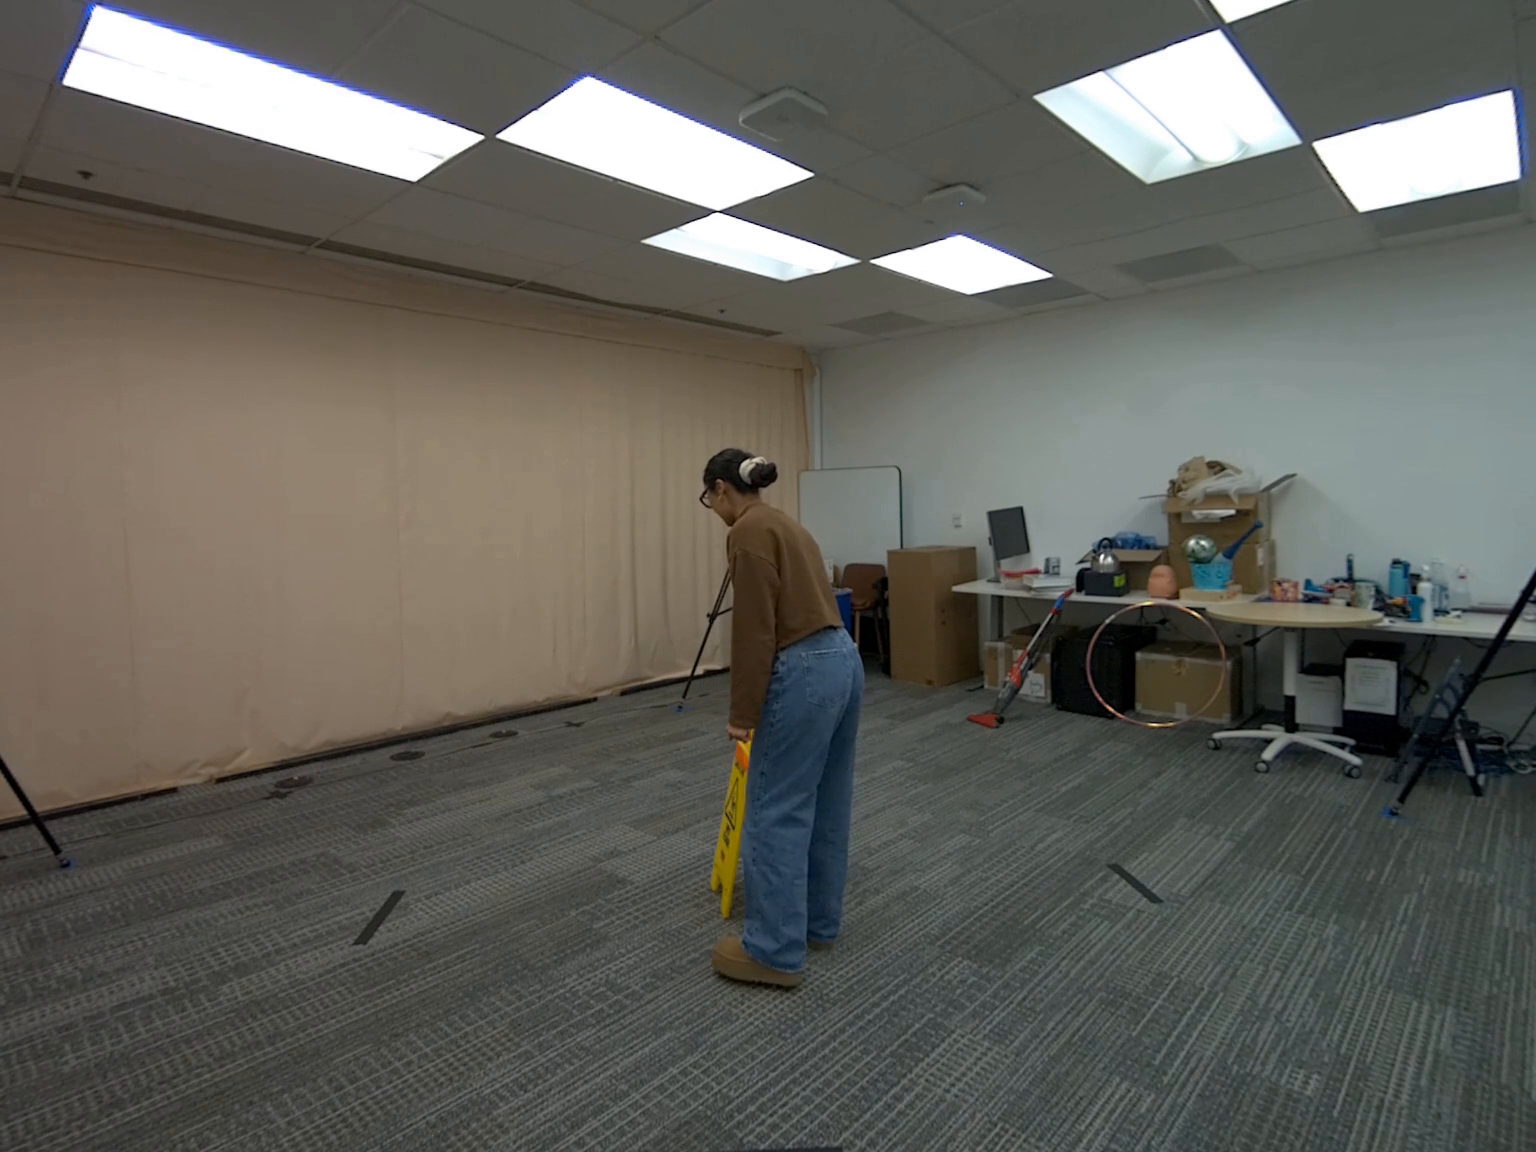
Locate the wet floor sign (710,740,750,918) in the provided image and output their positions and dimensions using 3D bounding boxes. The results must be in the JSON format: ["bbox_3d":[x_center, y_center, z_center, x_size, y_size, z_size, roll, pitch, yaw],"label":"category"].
[{"bbox_3d":[-0.049,0.816,2.975,0.286,0.645,0.286,-2,3,-12],"label":"wet floor sign"}]
